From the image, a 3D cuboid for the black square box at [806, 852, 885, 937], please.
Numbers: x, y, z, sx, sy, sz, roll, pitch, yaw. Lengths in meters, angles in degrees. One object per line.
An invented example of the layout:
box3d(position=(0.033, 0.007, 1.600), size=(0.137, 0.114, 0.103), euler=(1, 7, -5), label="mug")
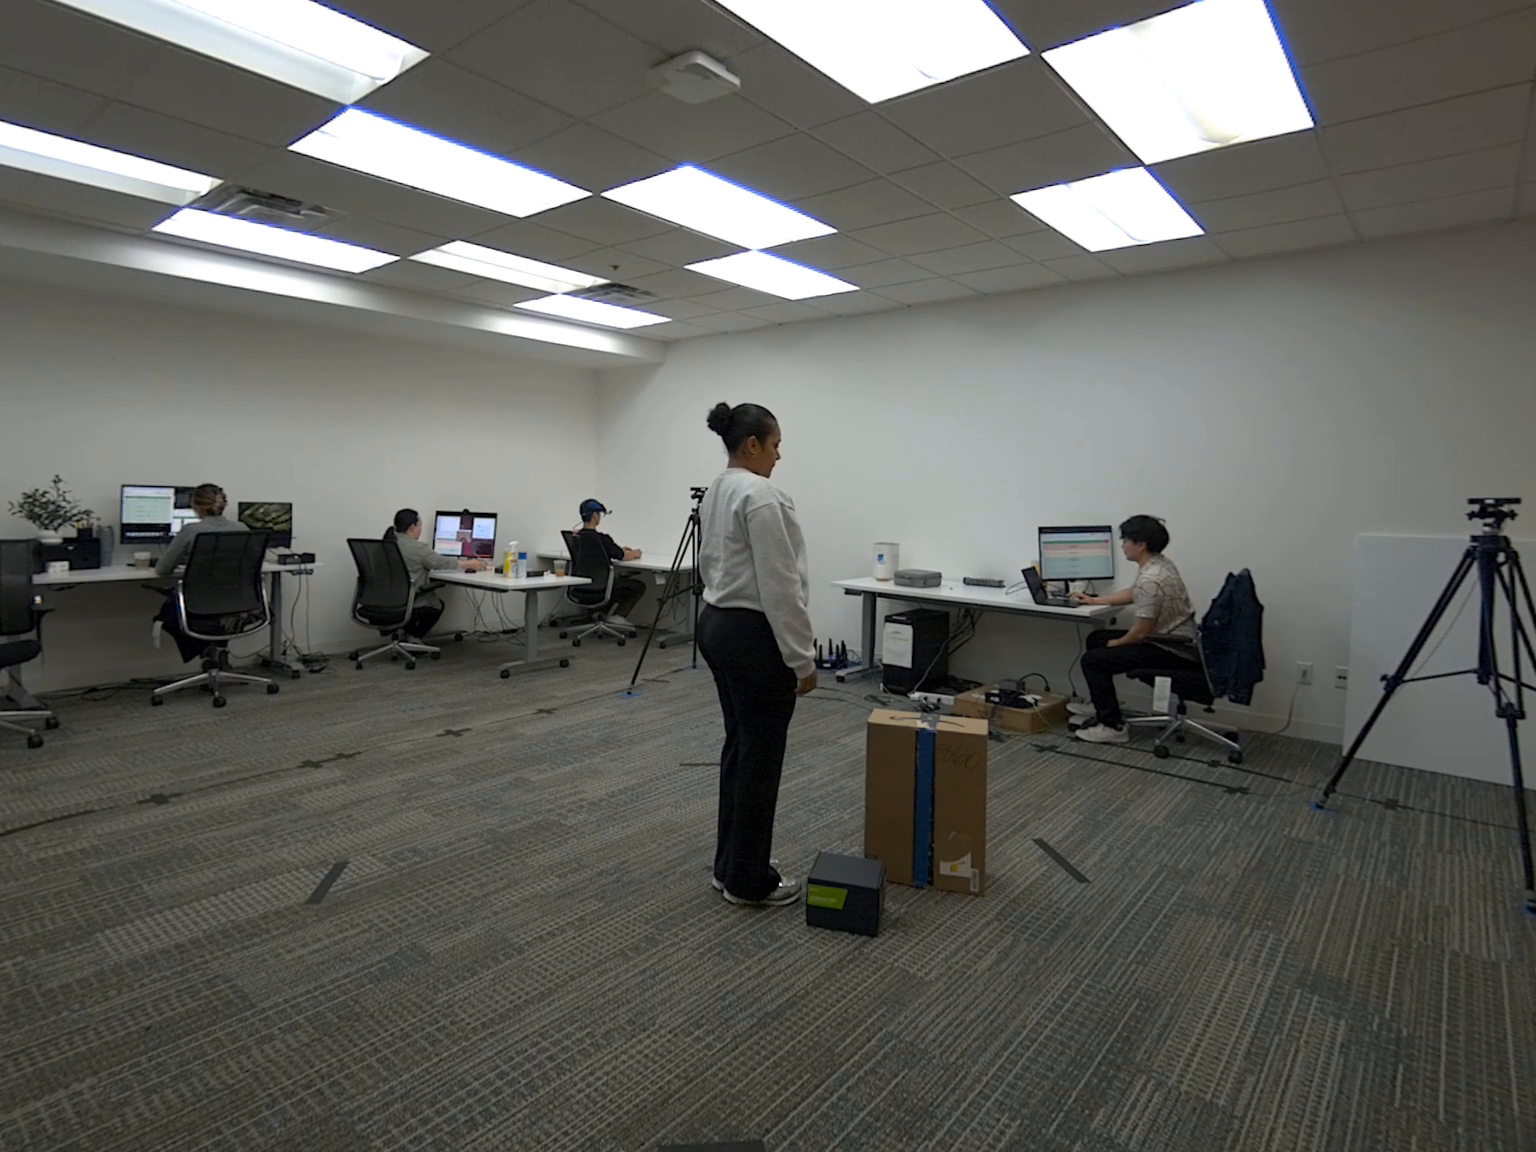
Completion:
box3d(position=(0.251, 1.027, 2.778), size=(0.232, 0.155, 0.214), euler=(4, 5, 15), label="black square box")
